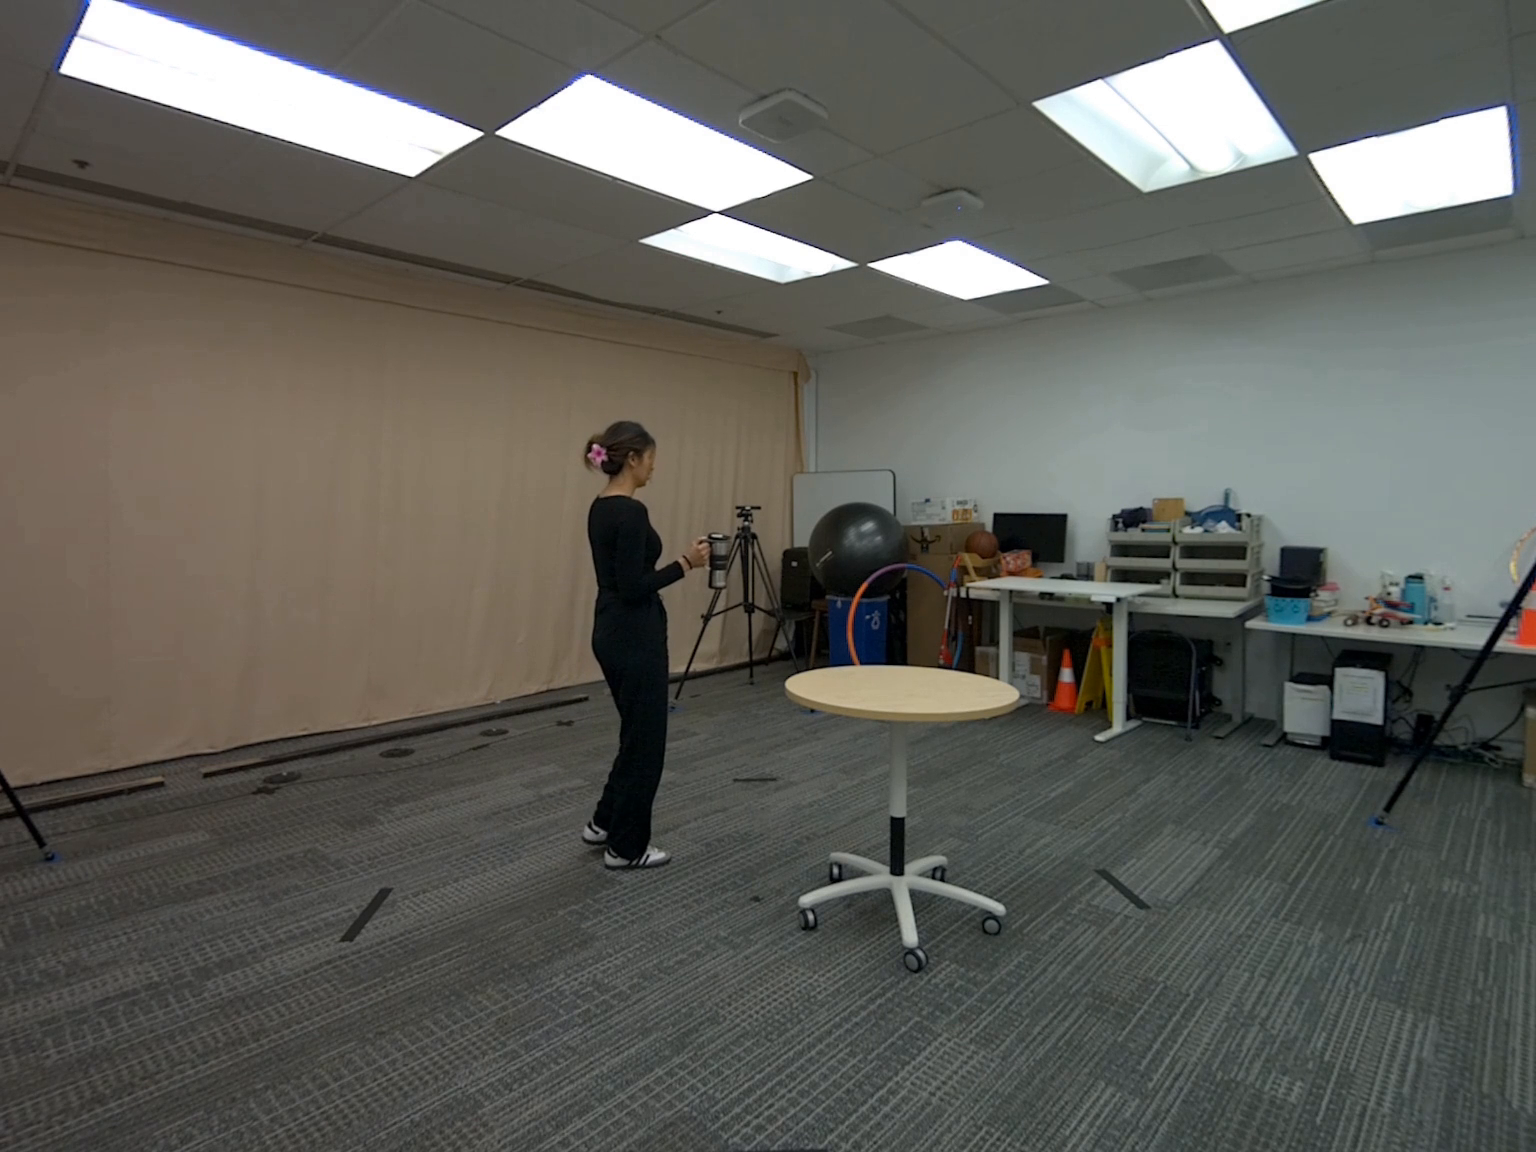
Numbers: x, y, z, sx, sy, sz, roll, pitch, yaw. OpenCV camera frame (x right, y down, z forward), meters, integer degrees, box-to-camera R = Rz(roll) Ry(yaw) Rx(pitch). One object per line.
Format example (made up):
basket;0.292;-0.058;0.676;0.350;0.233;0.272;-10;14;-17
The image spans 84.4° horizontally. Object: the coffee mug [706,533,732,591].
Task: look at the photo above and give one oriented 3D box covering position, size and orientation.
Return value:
coffee mug;-0.207;-0.056;3.159;0.122;0.202;0.088;5;11;0
